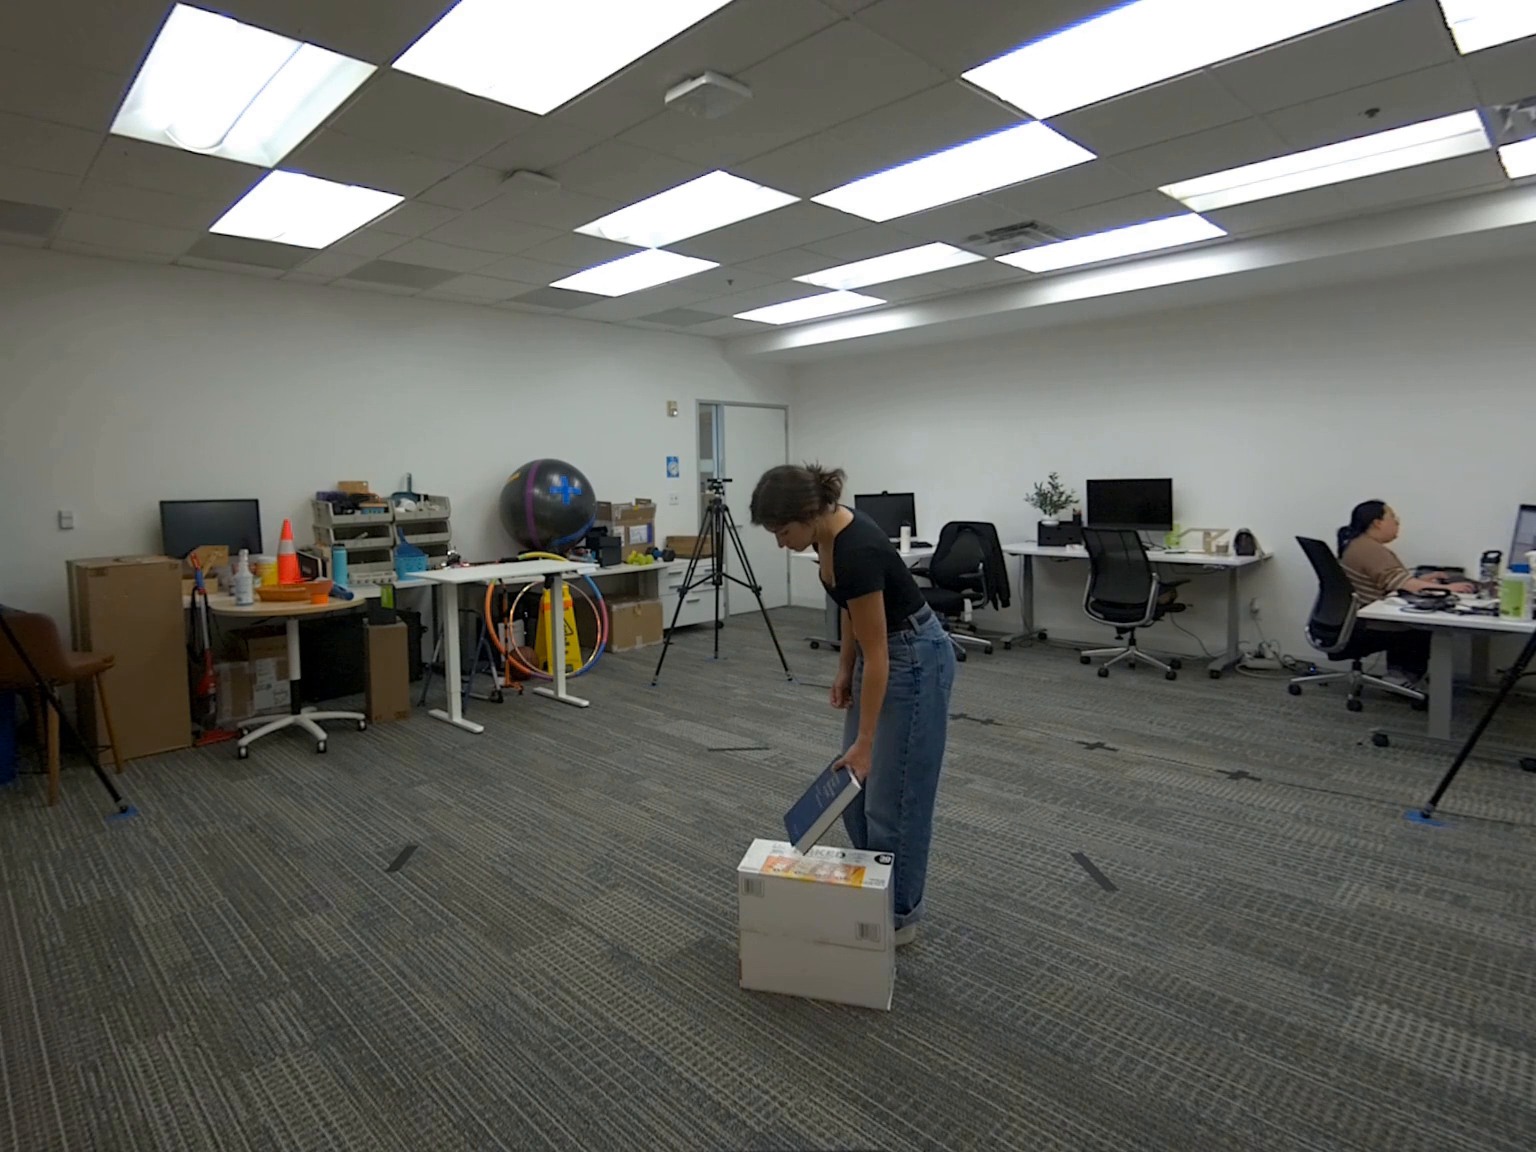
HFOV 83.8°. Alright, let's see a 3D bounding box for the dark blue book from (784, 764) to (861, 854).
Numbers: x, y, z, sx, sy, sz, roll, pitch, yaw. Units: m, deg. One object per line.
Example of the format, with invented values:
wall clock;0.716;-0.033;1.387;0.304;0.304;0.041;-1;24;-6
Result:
dark blue book;0.151;0.628;2.324;0.044;0.245;0.166;39;6;-13
